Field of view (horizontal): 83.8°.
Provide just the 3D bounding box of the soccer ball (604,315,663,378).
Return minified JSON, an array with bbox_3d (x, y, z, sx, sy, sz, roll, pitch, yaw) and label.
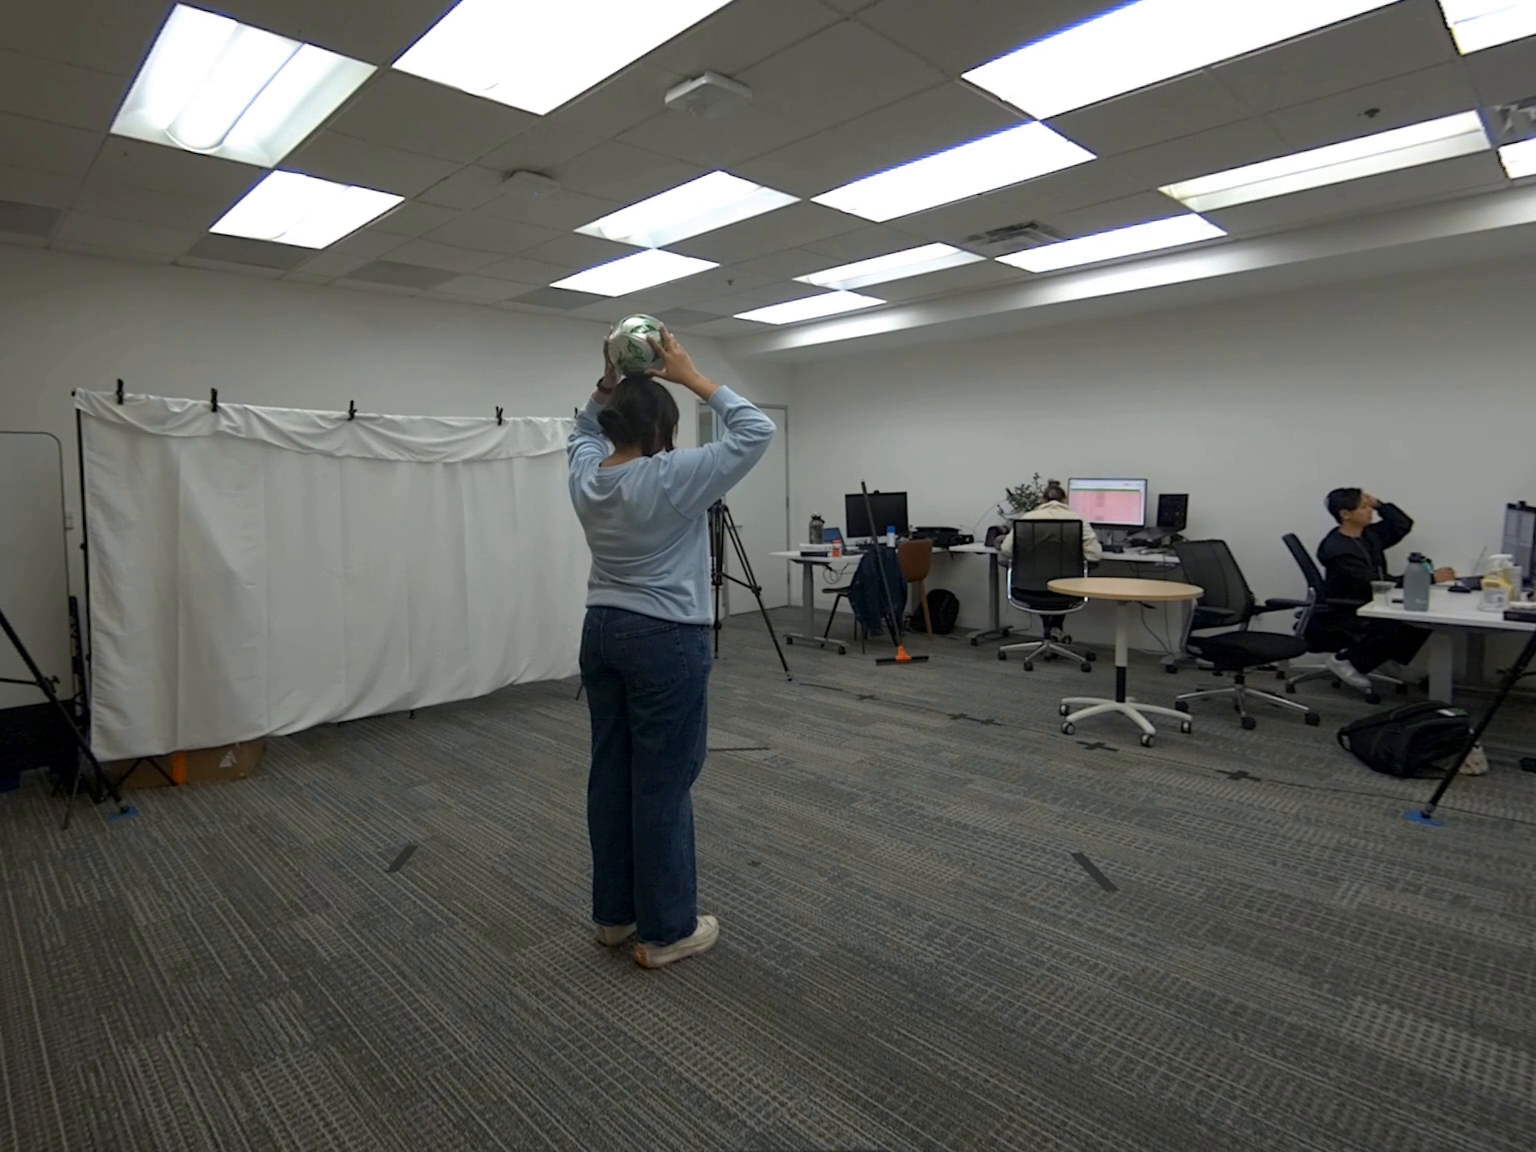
[{"bbox_3d":[-0.369,-0.665,2.491,0.187,0.187,0.188,-1,5,-2],"label":"soccer ball"}]
